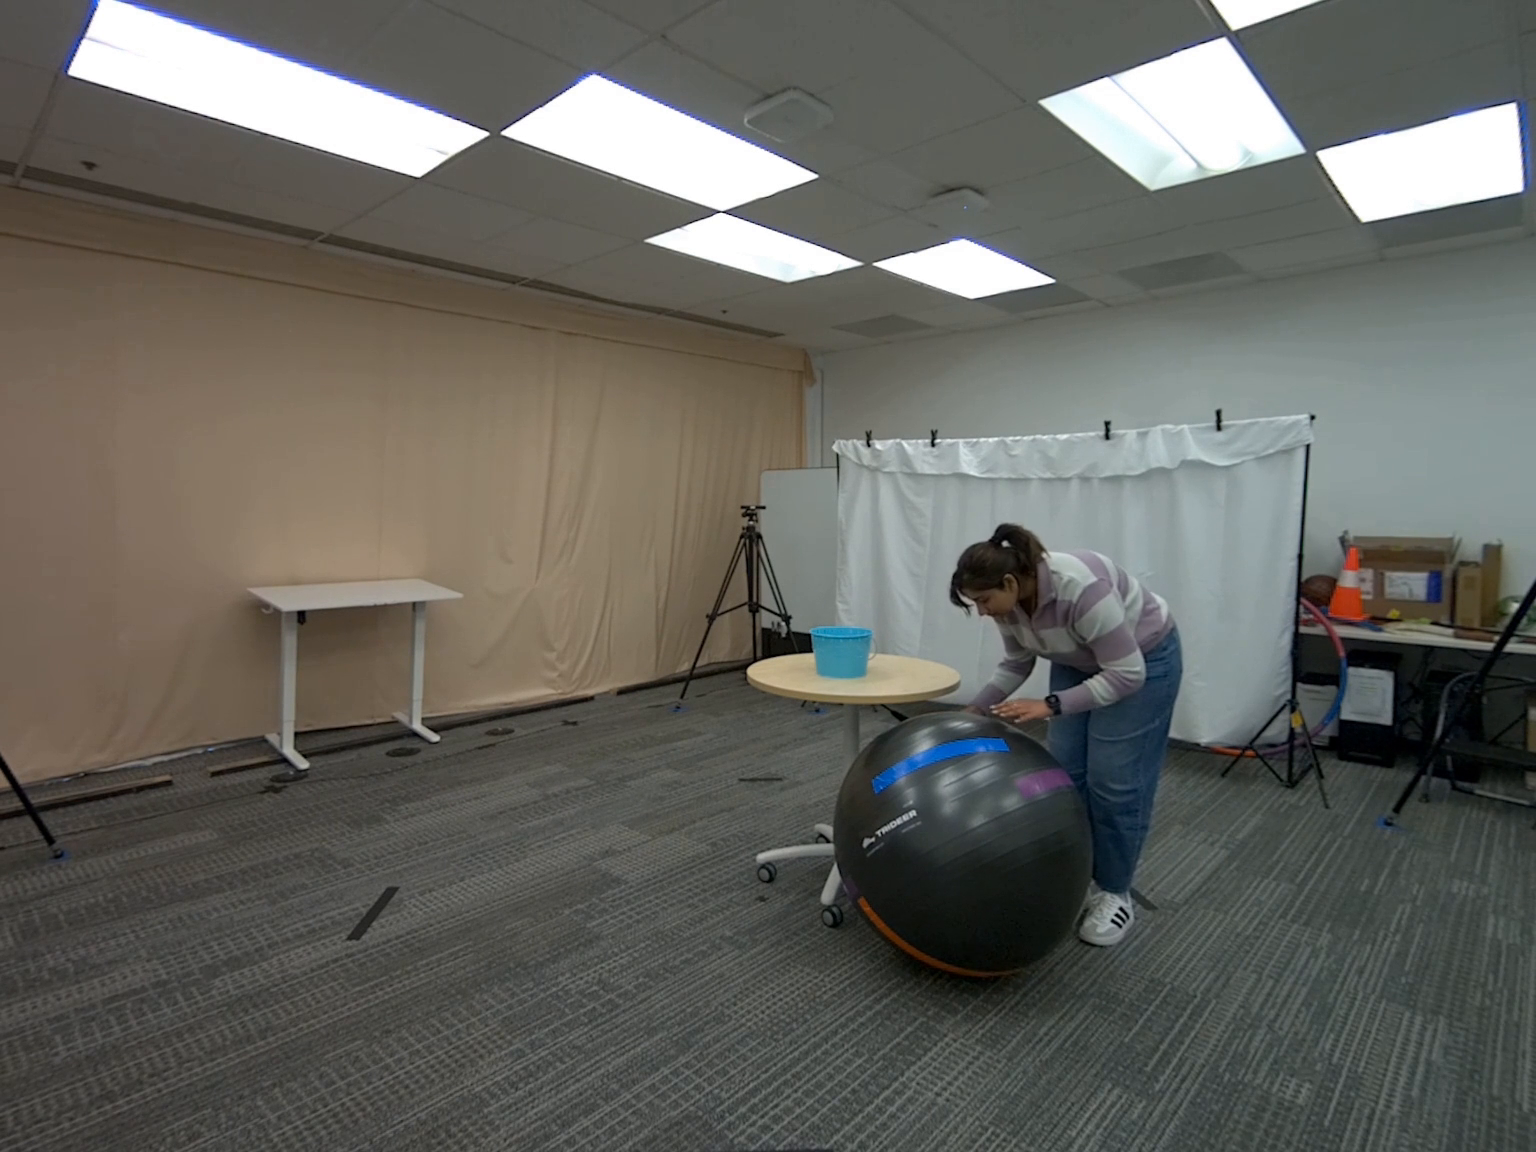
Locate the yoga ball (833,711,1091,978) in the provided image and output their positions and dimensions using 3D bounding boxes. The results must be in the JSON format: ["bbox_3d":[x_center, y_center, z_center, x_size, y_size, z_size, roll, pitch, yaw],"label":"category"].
[{"bbox_3d":[0.586,0.808,2.561,0.757,0.756,0.760,0,4,-2],"label":"yoga ball"}]
